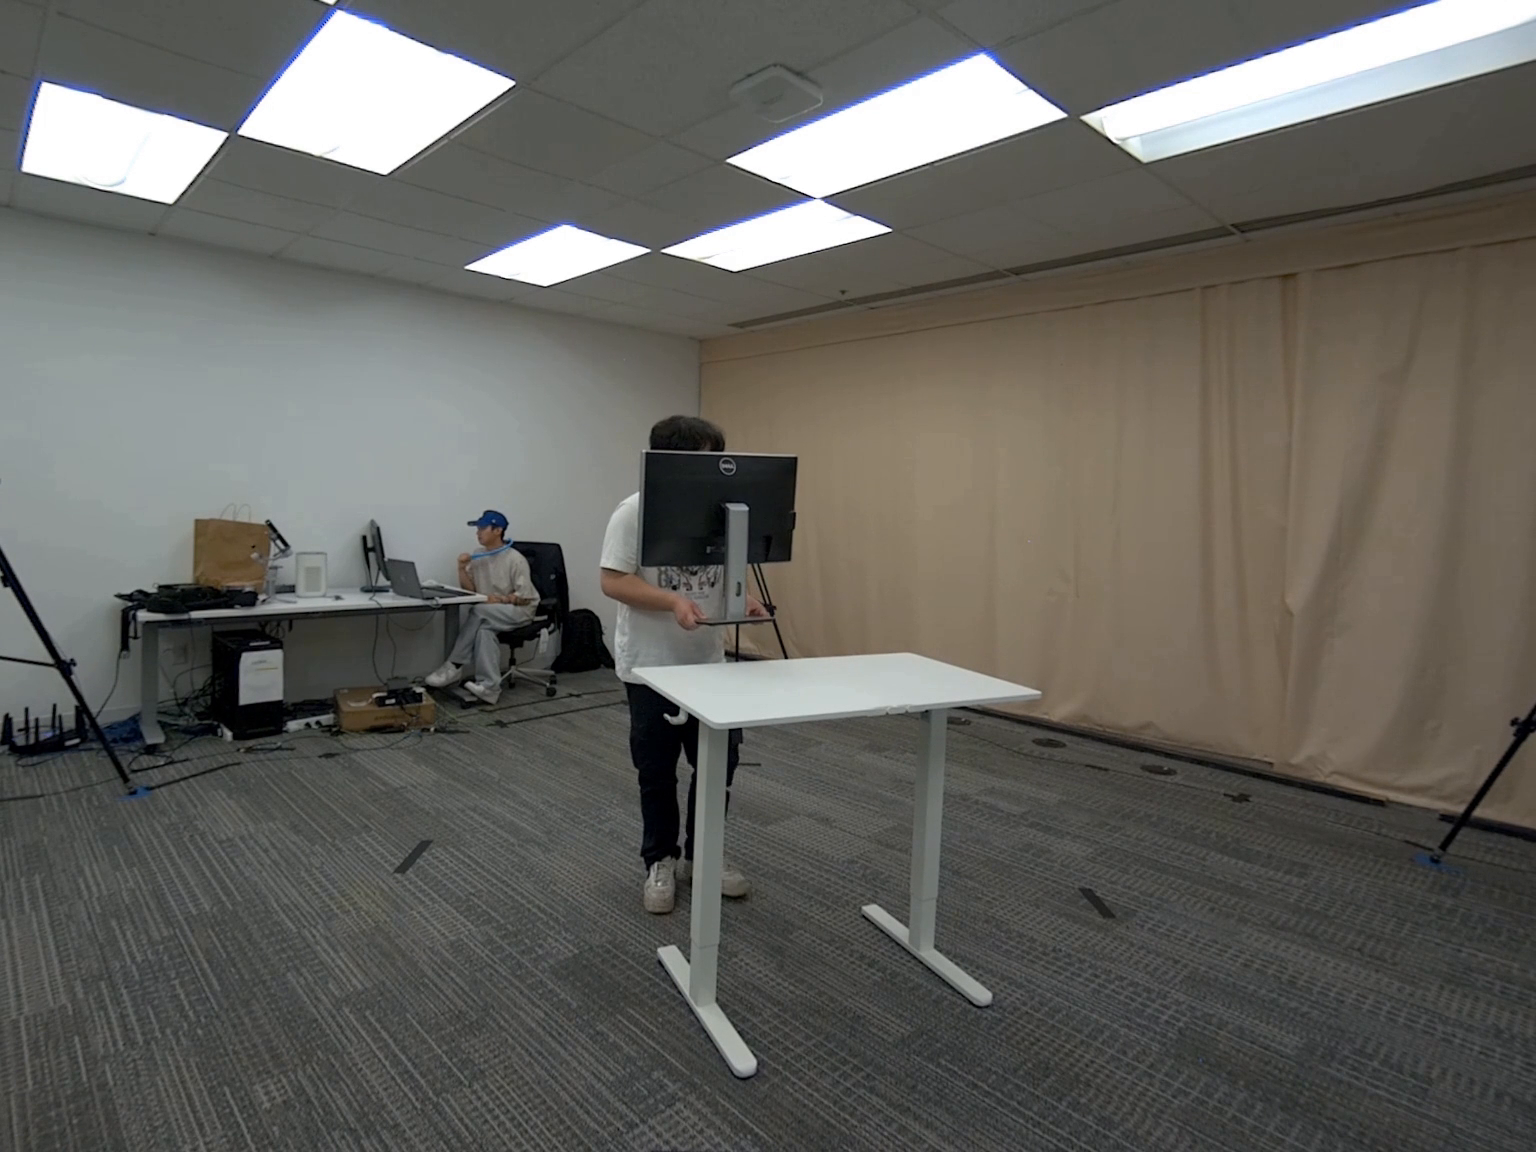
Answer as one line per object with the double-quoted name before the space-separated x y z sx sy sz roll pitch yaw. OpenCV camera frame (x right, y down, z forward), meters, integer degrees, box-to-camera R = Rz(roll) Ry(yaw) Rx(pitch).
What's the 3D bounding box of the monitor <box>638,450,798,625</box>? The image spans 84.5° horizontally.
"monitor" -0.126 -0.121 2.655 0.554 0.552 0.215 -1 4 -30
